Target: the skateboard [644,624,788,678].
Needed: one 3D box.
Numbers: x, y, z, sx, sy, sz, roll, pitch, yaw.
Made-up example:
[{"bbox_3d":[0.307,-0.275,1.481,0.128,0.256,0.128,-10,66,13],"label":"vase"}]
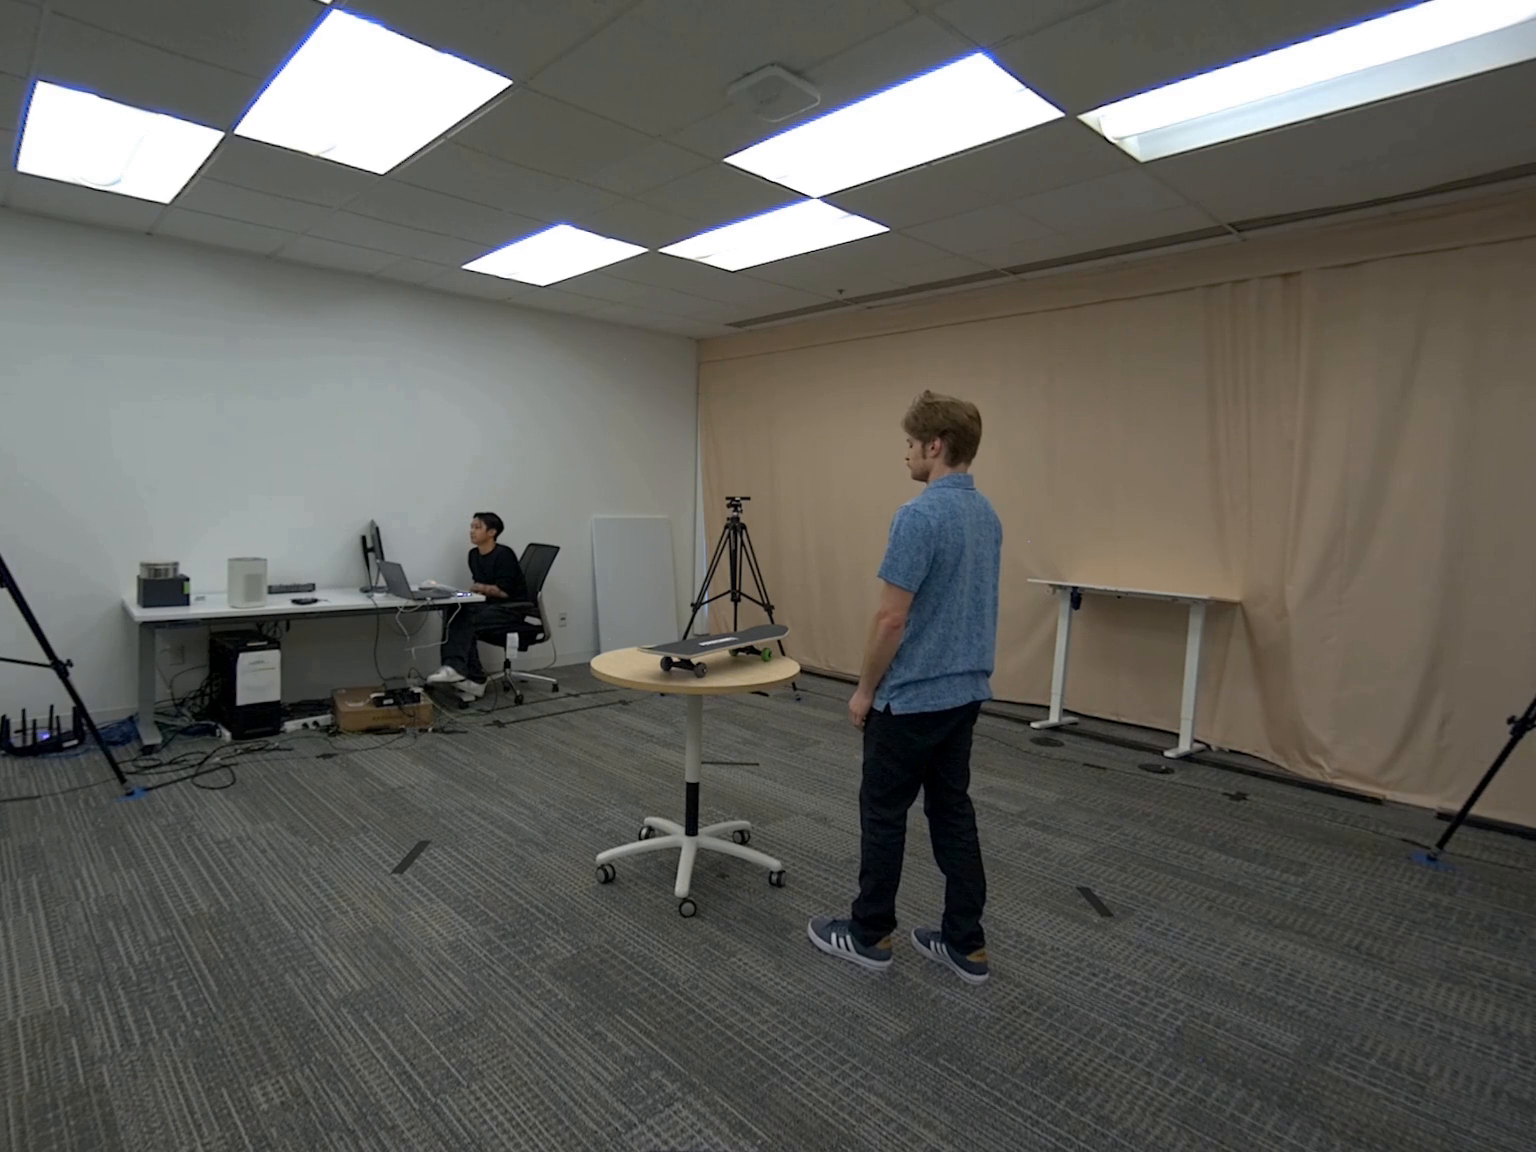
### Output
[{"bbox_3d":[-0.187,0.280,3.054,0.198,0.110,0.769,5,7,35],"label":"skateboard"}]
